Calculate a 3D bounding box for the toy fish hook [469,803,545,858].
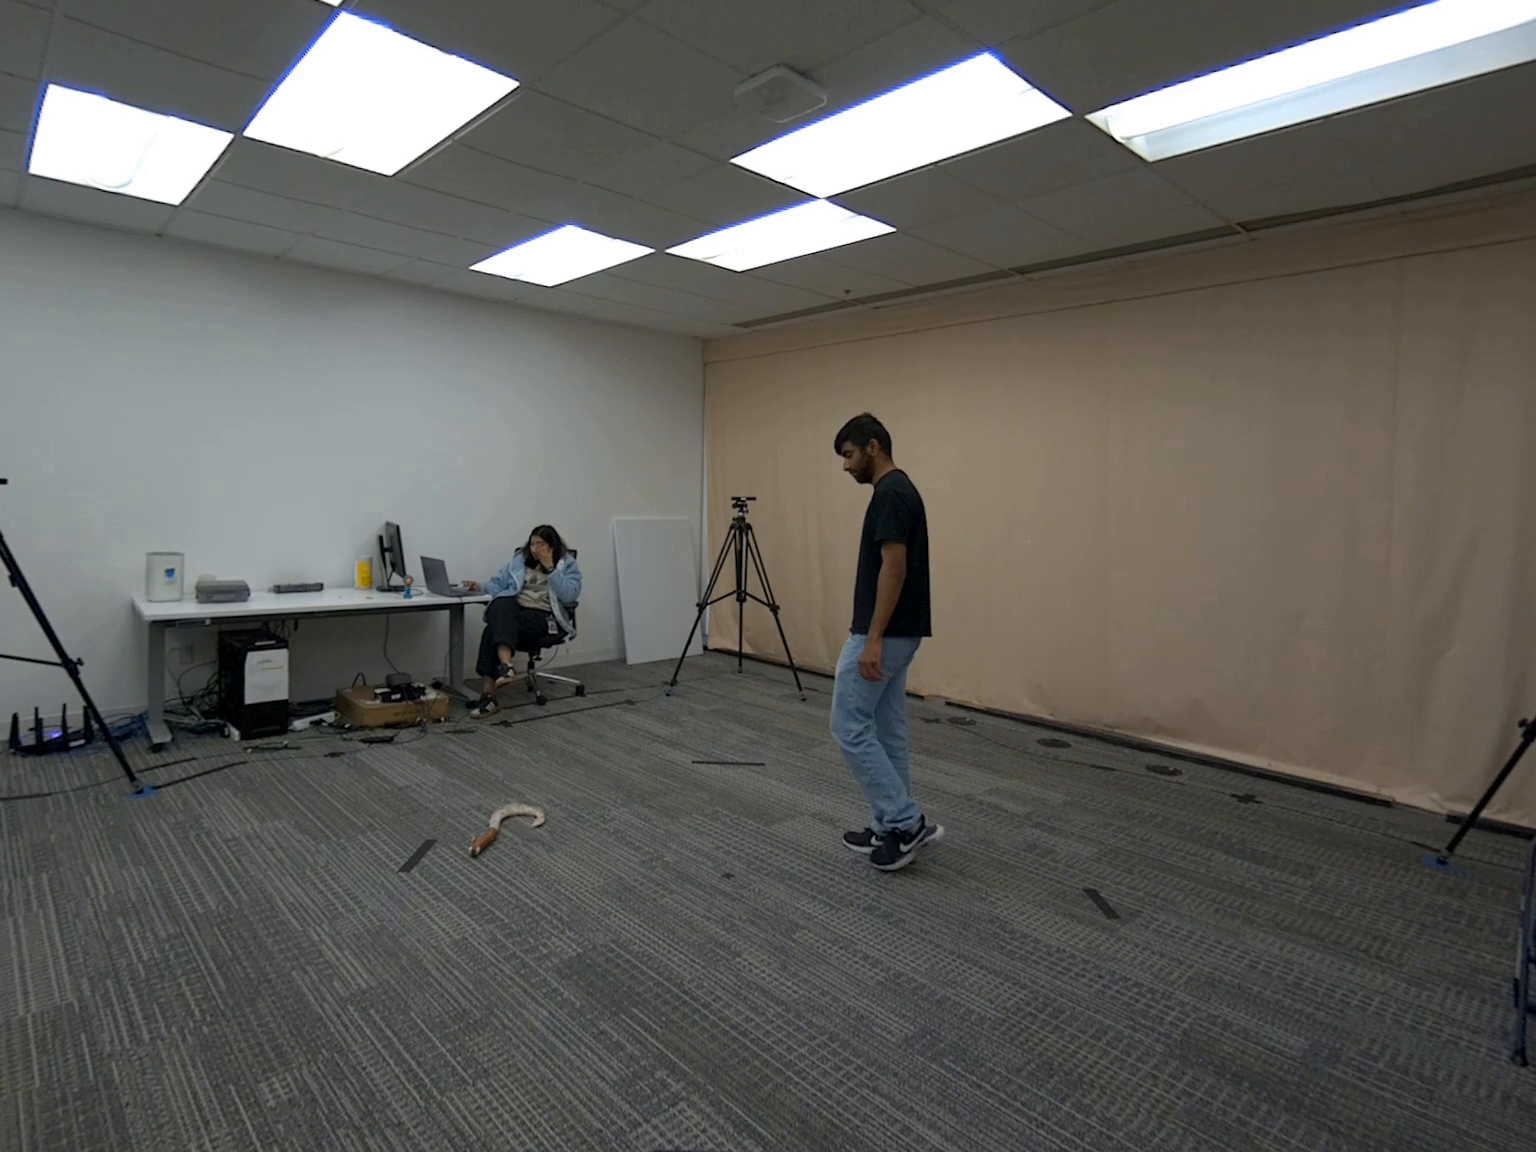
[{"bbox_3d":[-1.061,1.025,3.441,0.225,0.048,0.507,1,5,3],"label":"toy fish hook"}]
